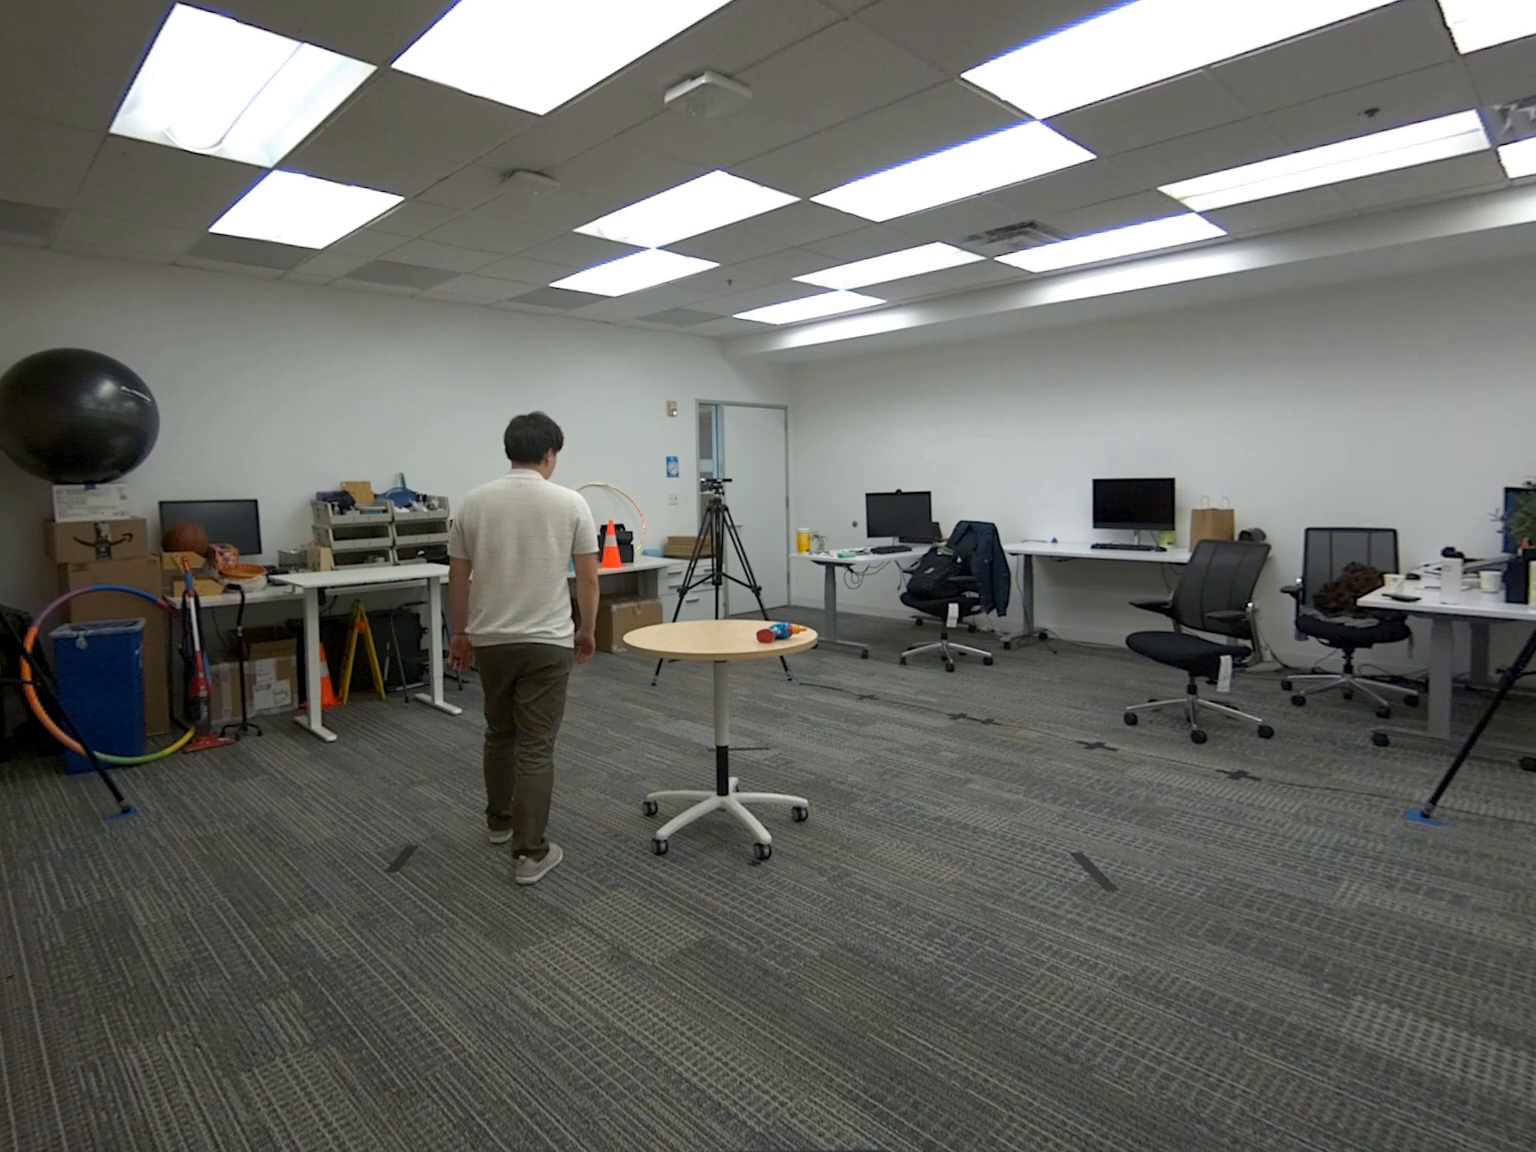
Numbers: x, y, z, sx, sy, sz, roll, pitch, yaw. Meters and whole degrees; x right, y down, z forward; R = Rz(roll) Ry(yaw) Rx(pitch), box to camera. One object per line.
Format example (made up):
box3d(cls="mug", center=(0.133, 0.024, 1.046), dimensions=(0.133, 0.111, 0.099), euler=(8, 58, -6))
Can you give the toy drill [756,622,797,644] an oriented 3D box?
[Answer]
box3d(cls="toy drill", center=(0.053, 0.211, 3.218), dimensions=(0.174, 0.061, 0.143), euler=(-4, 5, 30))
